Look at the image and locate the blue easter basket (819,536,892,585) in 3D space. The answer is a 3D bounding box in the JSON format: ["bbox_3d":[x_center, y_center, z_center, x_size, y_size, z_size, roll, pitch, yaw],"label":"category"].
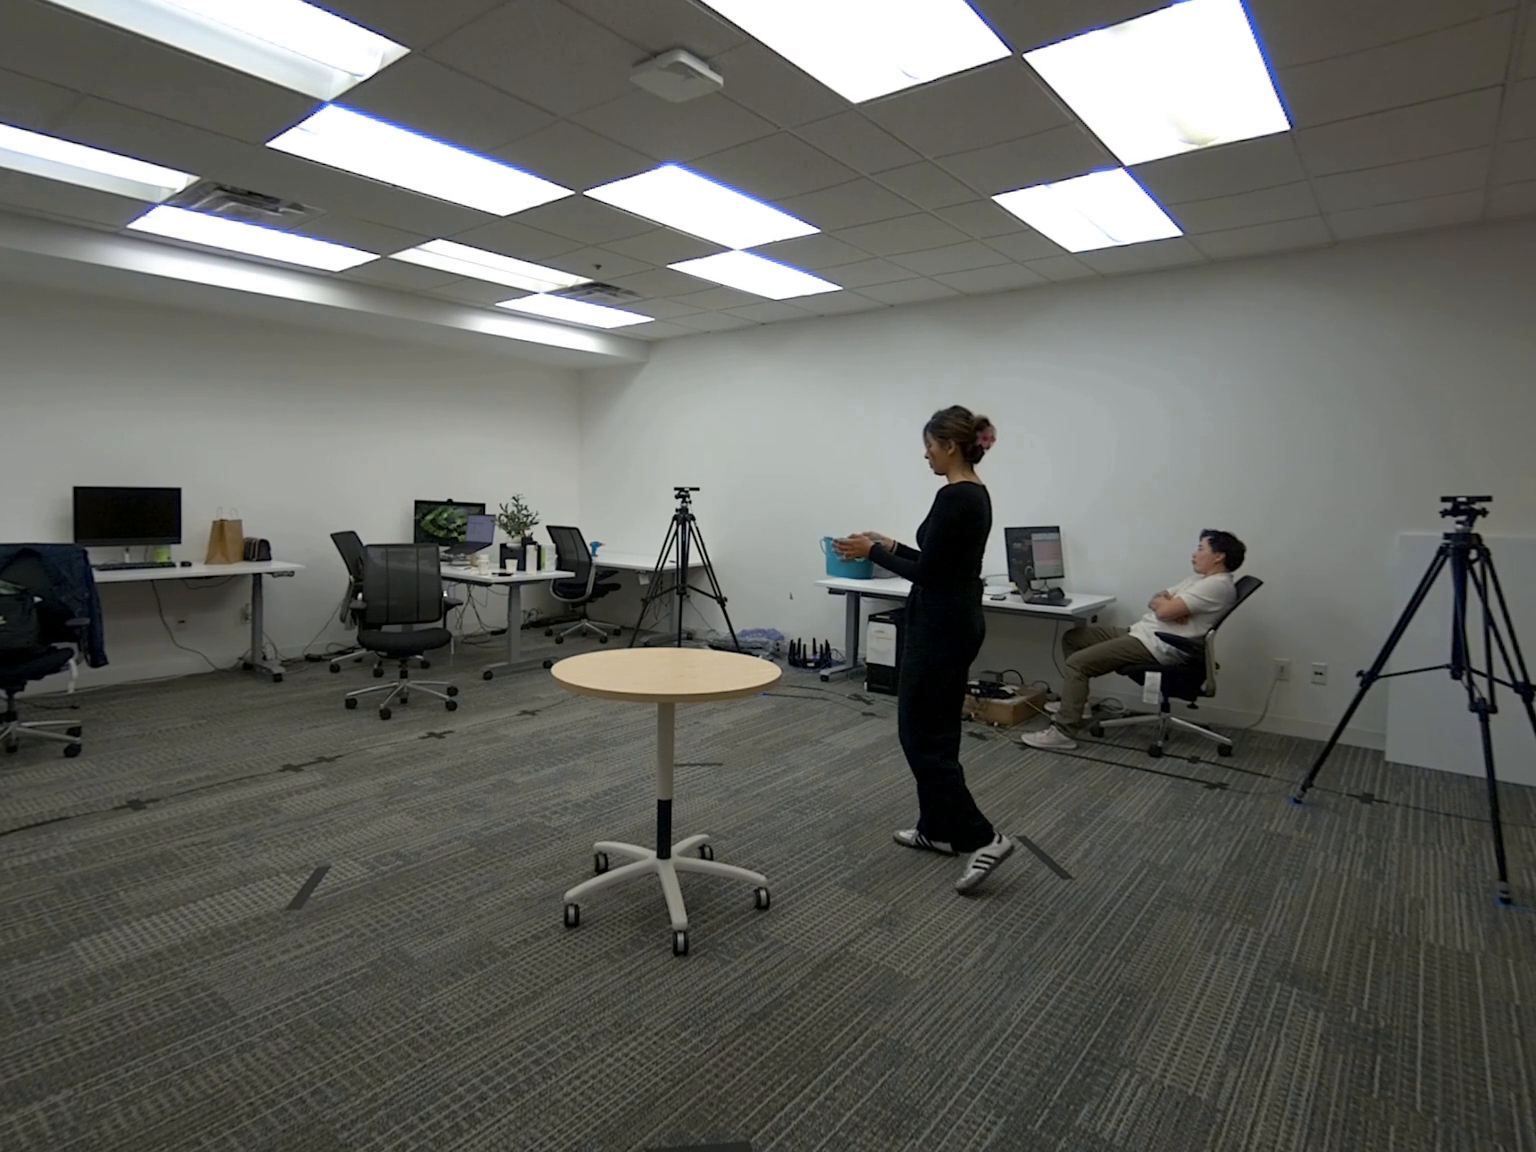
[{"bbox_3d":[0.347,-0.068,3.356,0.243,0.155,0.244,5,3,-2],"label":"blue easter basket"}]
